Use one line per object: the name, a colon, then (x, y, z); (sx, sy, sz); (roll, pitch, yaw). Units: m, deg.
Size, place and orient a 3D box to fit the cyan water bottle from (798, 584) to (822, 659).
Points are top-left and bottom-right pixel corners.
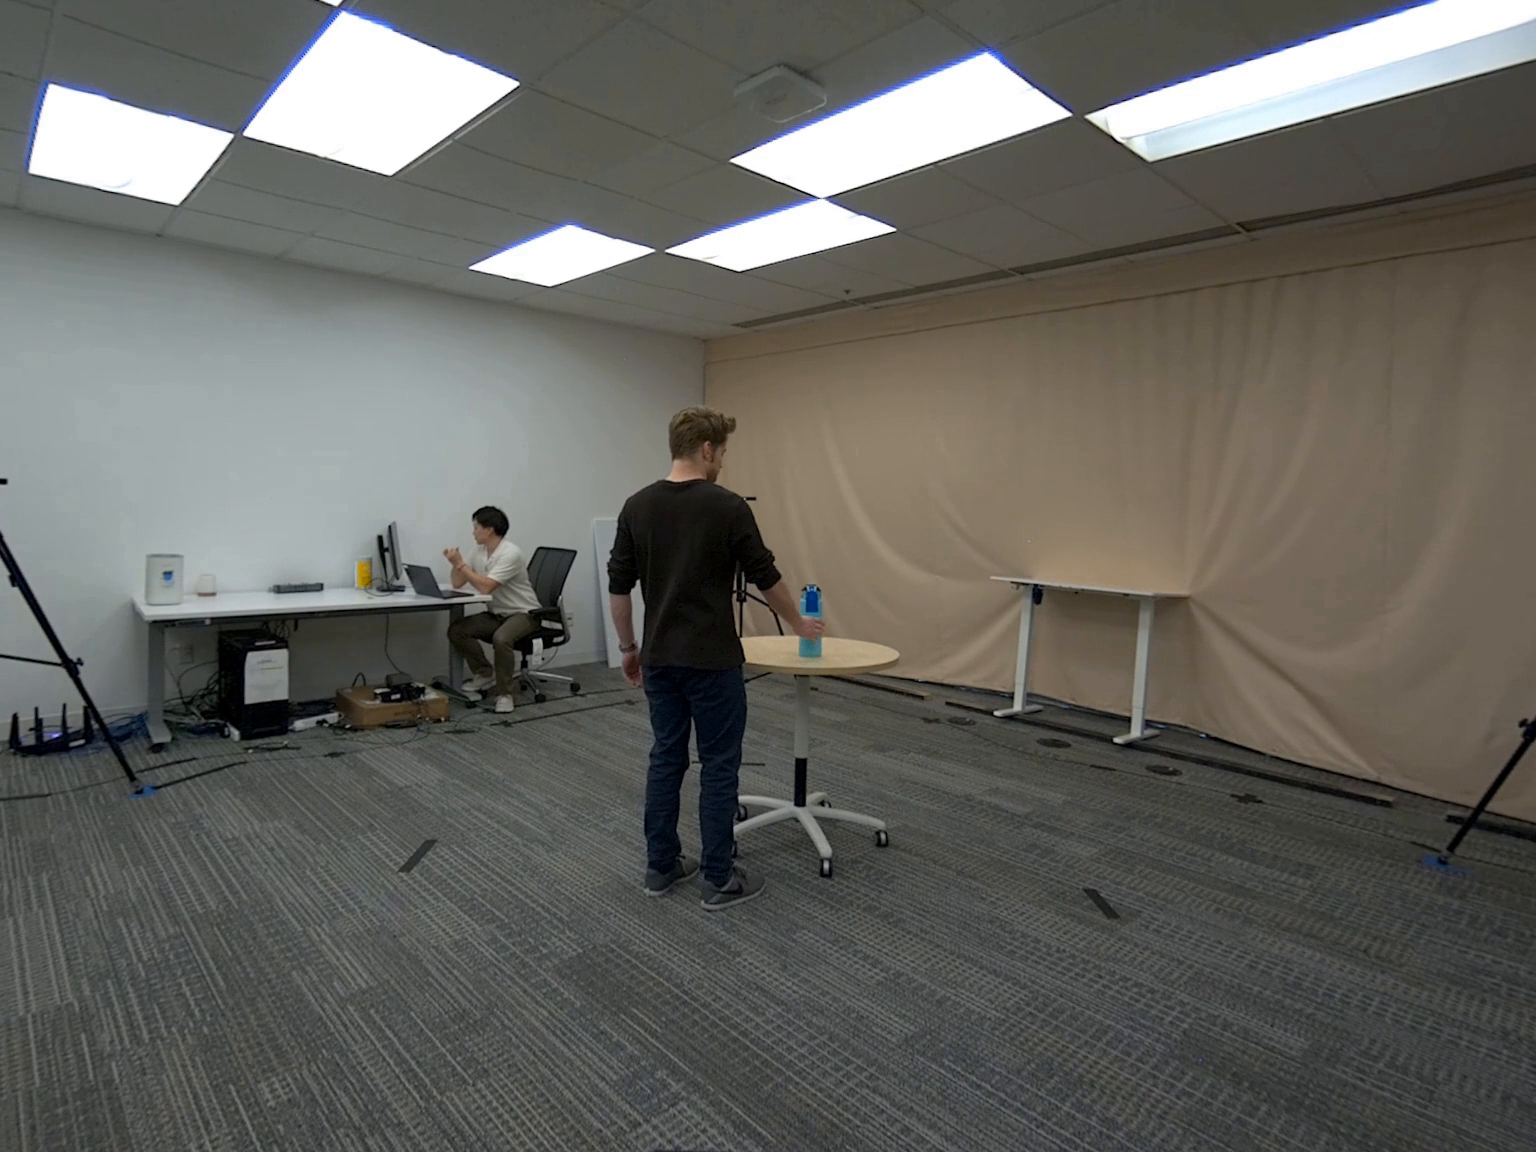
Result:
cyan water bottle: (0.163, 0.174, 3.298); (0.092, 0.282, 0.093); (2, 5, -2)
